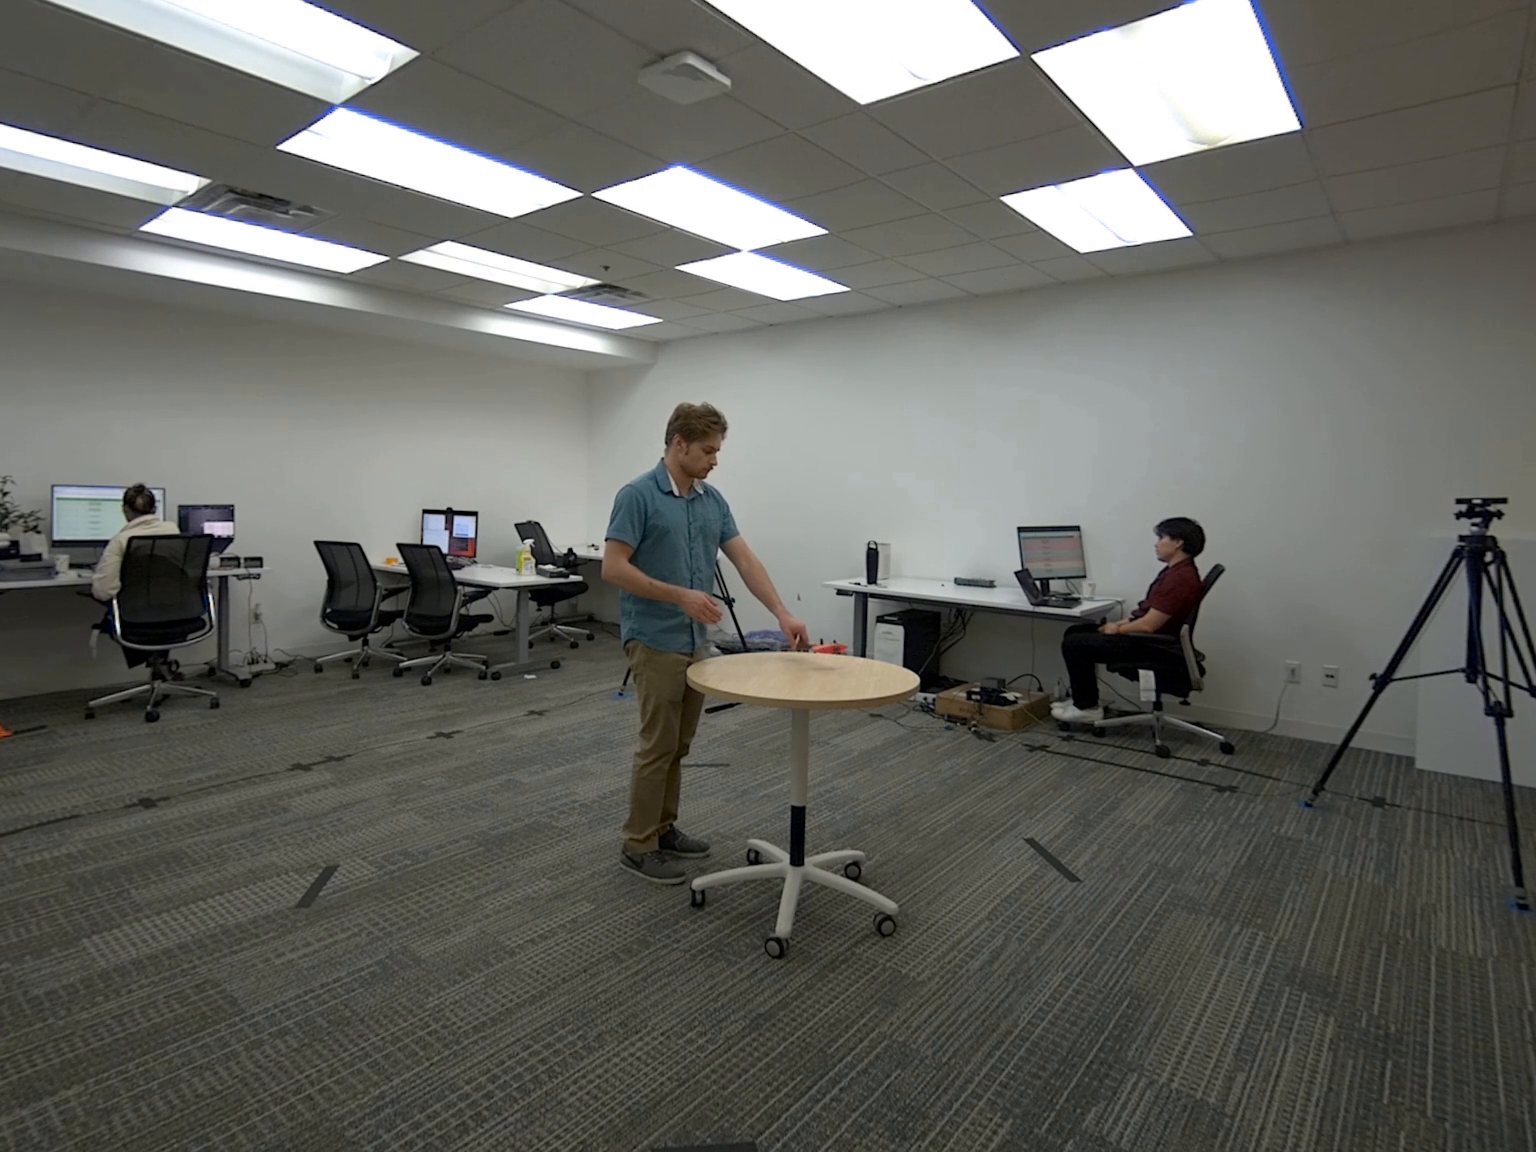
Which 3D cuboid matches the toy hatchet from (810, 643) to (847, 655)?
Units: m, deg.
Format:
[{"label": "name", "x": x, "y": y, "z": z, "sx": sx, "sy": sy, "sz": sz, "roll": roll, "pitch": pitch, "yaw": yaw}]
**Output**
[{"label": "toy hatchet", "x": 0.123, "y": 0.253, "z": 2.958, "sx": 0.278, "sy": 0.029, "sz": 0.127, "roll": -5, "pitch": 0, "yaw": 39}]
